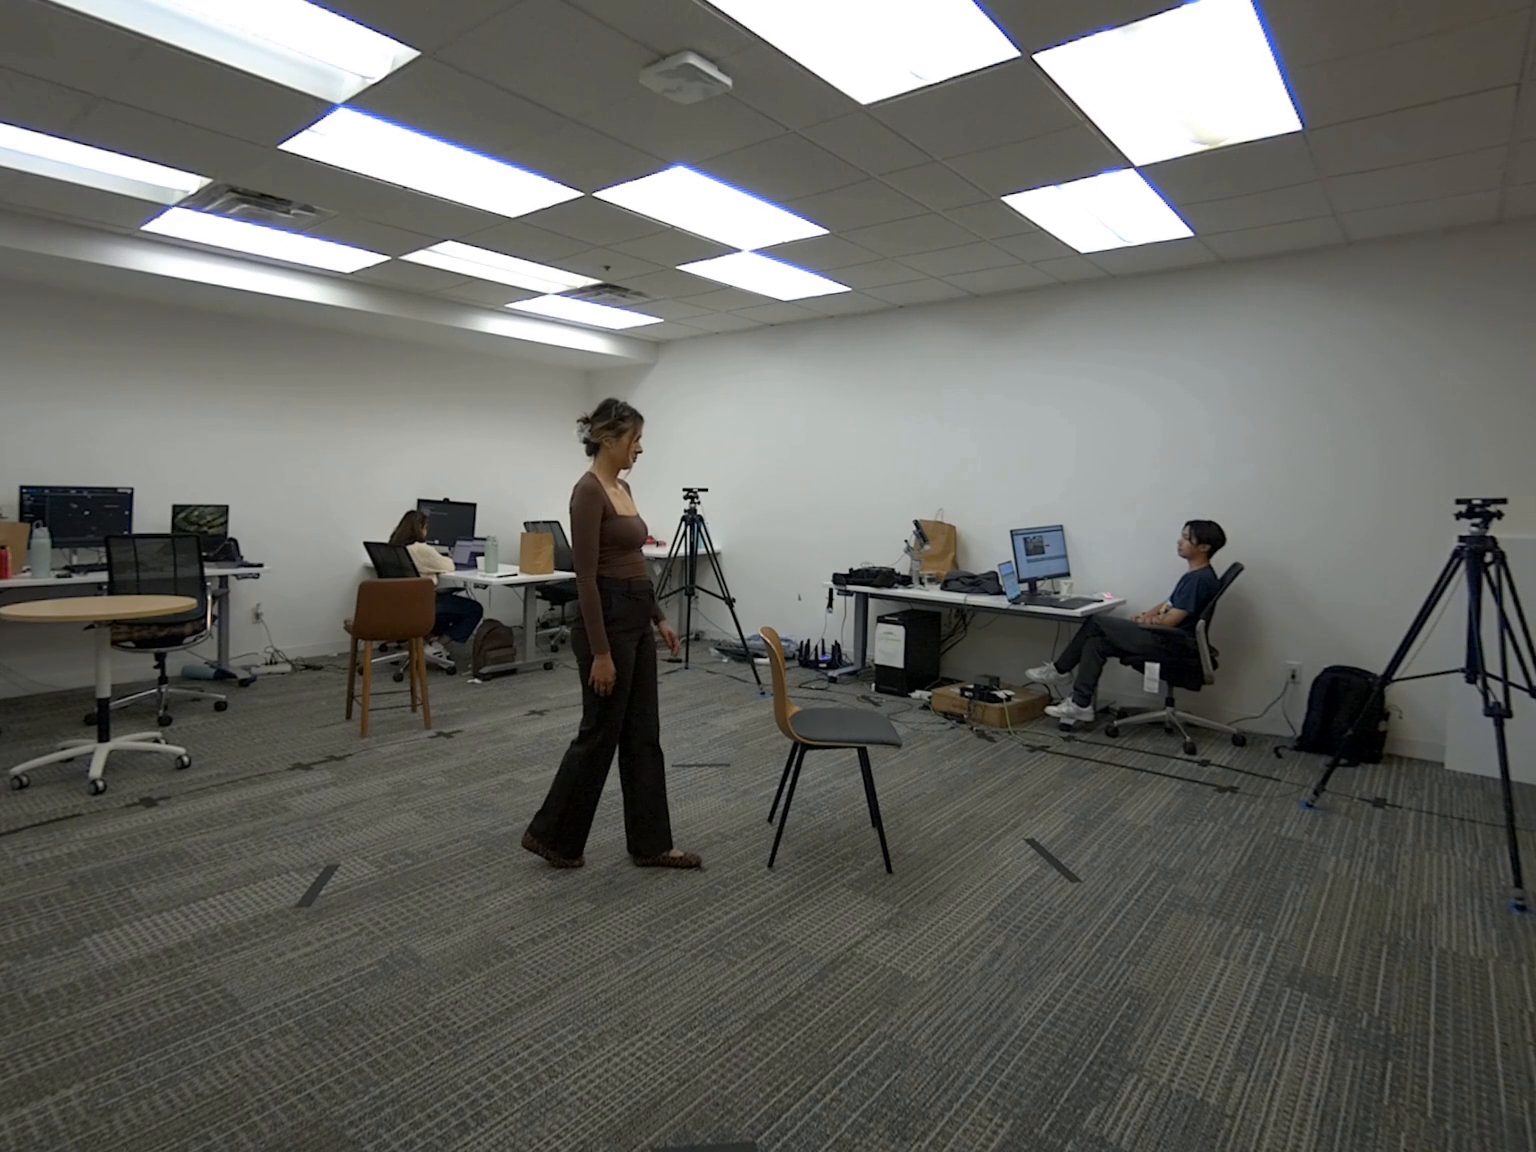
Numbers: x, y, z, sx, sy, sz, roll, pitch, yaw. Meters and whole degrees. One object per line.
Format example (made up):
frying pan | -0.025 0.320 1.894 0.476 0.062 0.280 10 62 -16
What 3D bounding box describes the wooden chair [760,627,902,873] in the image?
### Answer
wooden chair | 0.238 0.631 3.311 0.525 0.875 0.478 -3 3 2
